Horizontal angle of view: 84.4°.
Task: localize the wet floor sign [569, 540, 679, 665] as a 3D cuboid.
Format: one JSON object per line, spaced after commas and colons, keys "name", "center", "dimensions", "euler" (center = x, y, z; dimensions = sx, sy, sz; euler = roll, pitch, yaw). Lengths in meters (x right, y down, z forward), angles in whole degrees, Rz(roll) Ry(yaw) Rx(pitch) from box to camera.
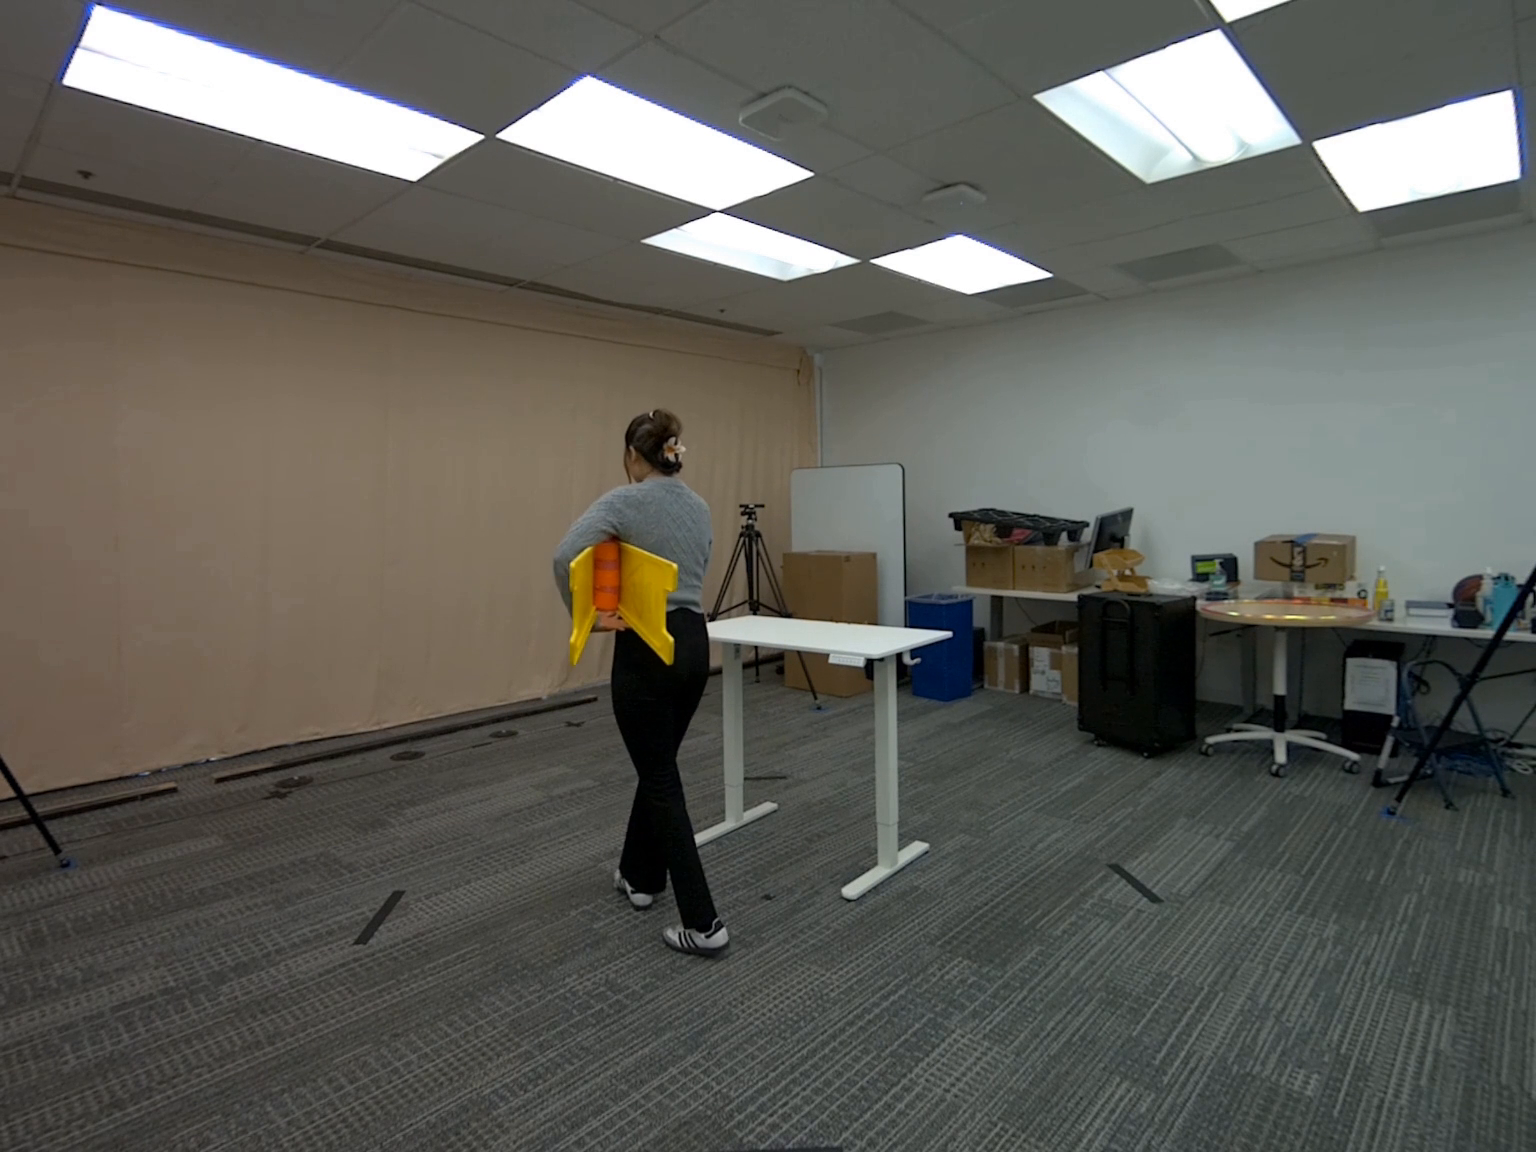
{"name": "wet floor sign", "center": [-0.478, 0.036, 2.542], "dimensions": [0.286, 0.280, 0.659], "euler": [-1, 13, -13]}
